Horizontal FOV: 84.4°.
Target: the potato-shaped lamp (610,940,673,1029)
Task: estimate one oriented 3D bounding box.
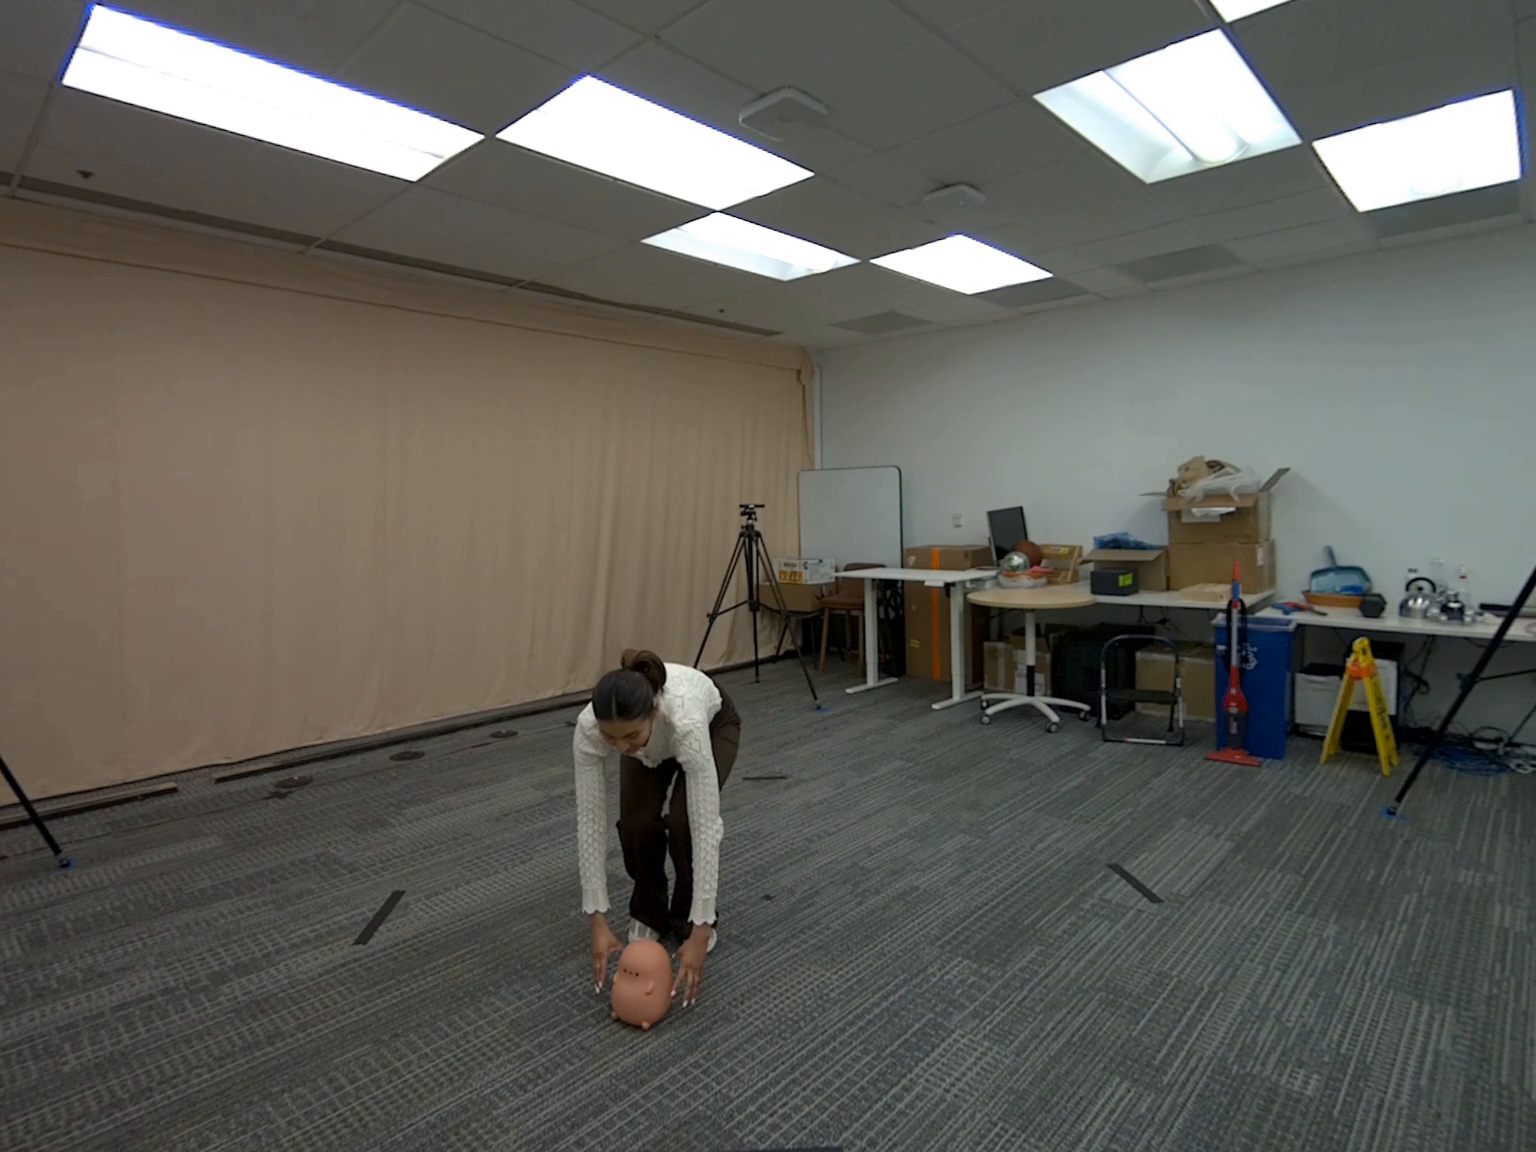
[{"bbox_3d":[-0.337,1.098,2.313,0.170,0.198,0.167,1,4,33],"label":"potato-shaped lamp"}]
